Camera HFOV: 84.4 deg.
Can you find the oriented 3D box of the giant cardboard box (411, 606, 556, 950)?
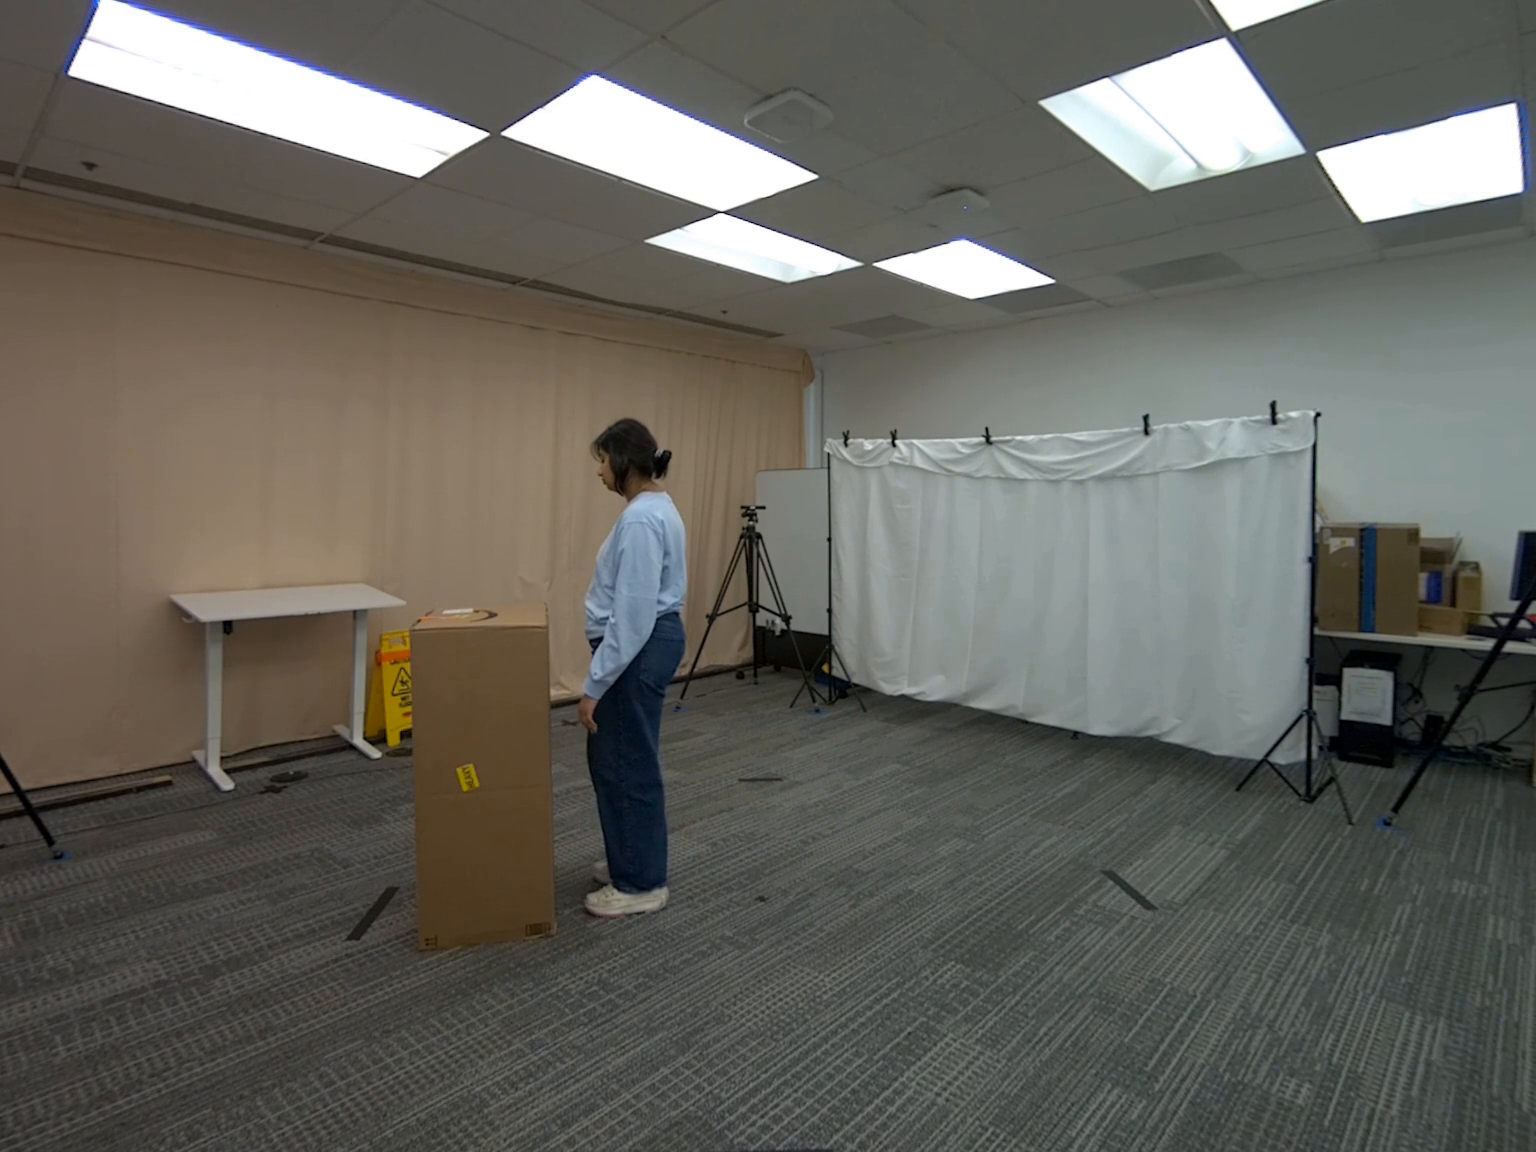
[{"bbox_3d":[-0.975,0.646,2.946,0.420,1.024,0.586,-1,3,-14],"label":"giant cardboard box"}]
